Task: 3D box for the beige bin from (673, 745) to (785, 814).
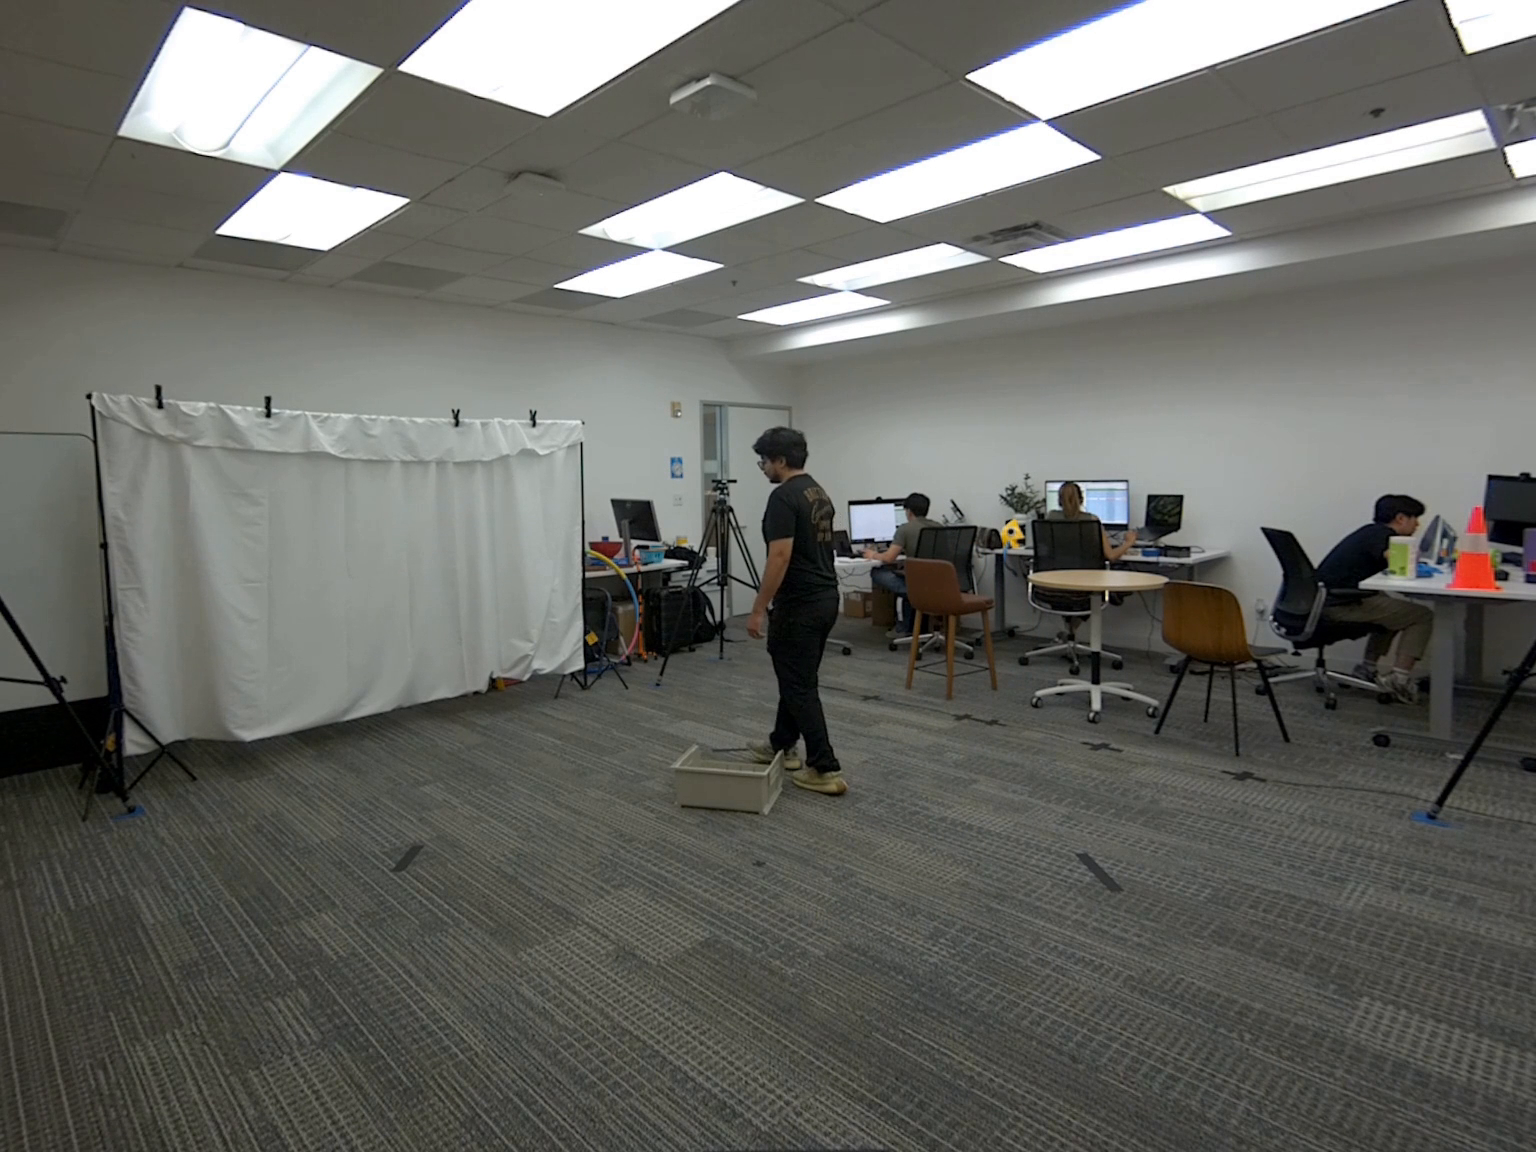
[{"bbox_3d":[-0.168,0.888,3.781,0.429,0.188,0.374,1,7,15],"label":"beige bin"}]
